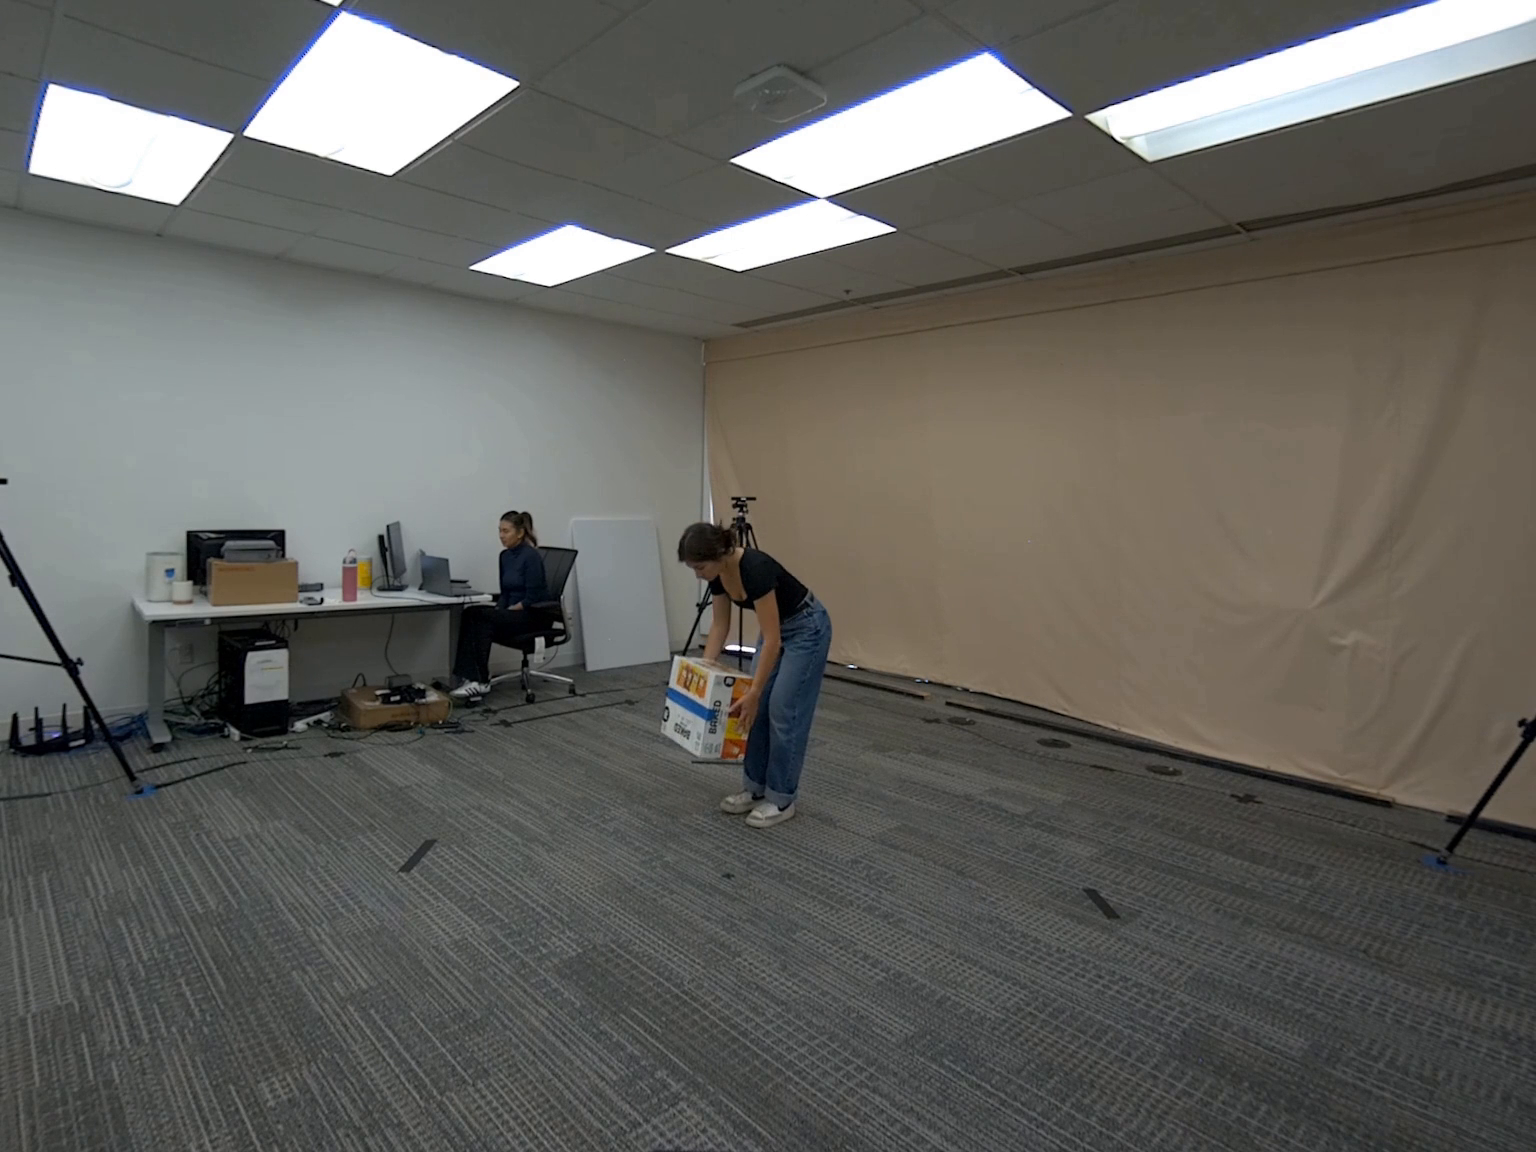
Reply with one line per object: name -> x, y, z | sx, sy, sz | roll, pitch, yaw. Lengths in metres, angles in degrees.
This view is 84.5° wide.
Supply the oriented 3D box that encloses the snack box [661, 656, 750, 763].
snack box -> -0.264, 0.553, 3.567 | 0.201, 0.340, 0.414 | 11, 0, -30
